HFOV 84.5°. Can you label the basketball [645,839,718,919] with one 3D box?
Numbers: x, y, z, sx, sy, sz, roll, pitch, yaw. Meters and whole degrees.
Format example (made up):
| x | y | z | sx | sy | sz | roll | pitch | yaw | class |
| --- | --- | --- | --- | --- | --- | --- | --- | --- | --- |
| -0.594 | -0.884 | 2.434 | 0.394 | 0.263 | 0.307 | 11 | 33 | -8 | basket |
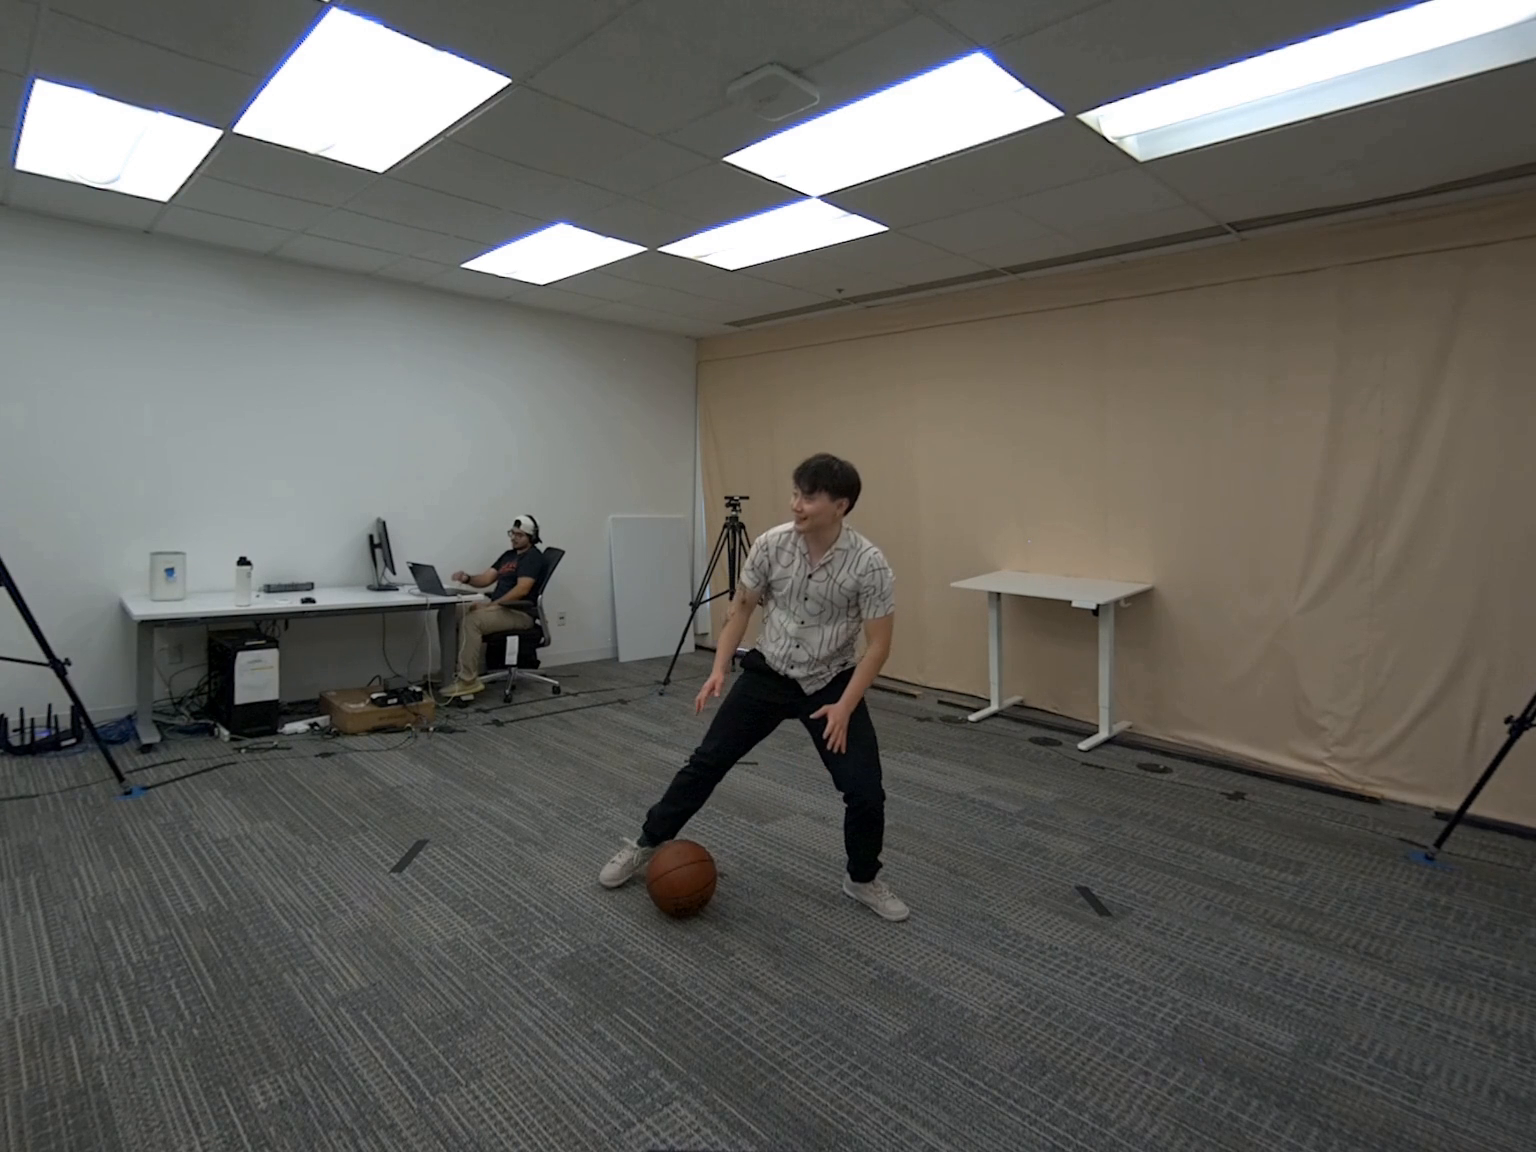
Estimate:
| x | y | z | sx | sy | sz | roll | pitch | yaw | class |
| --- | --- | --- | --- | --- | --- | --- | --- | --- | --- |
| -0.290 | 1.005 | 2.804 | 0.236 | 0.235 | 0.237 | 1 | 4 | -1 | basketball |
